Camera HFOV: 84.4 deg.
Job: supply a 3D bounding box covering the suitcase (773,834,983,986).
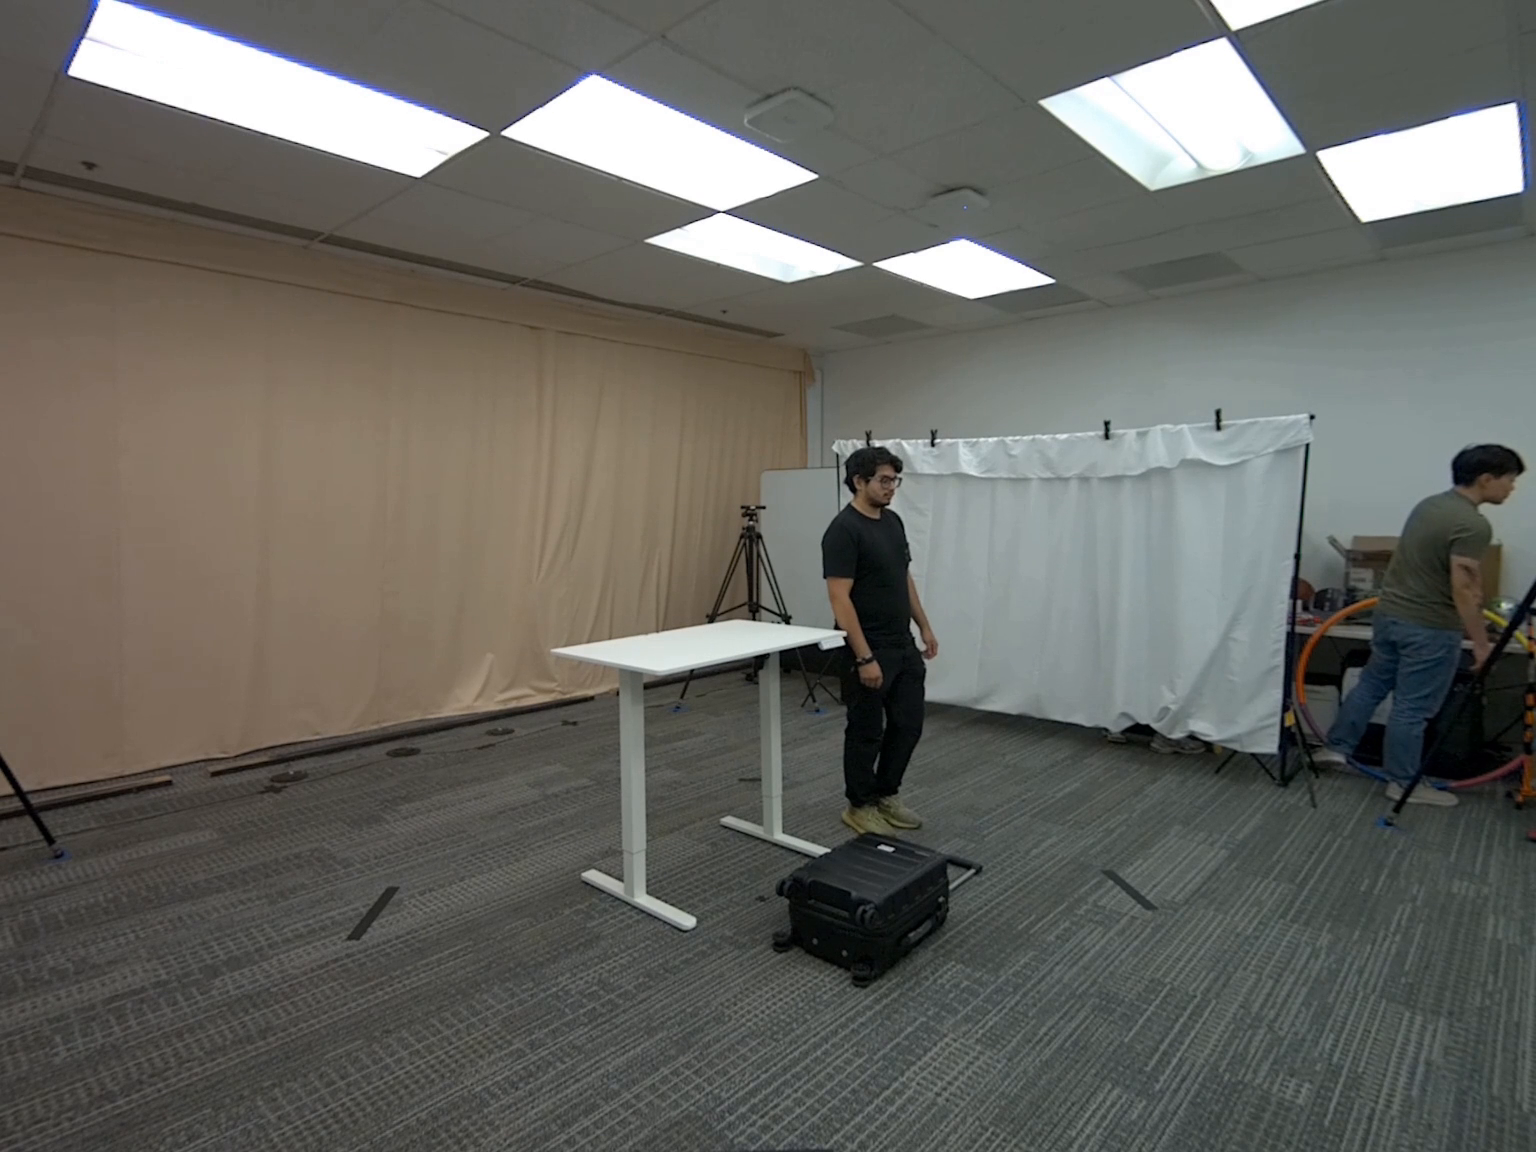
[{"bbox_3d":[0.458,1.027,2.873,0.396,0.256,0.950,2,6,39],"label":"suitcase"}]
